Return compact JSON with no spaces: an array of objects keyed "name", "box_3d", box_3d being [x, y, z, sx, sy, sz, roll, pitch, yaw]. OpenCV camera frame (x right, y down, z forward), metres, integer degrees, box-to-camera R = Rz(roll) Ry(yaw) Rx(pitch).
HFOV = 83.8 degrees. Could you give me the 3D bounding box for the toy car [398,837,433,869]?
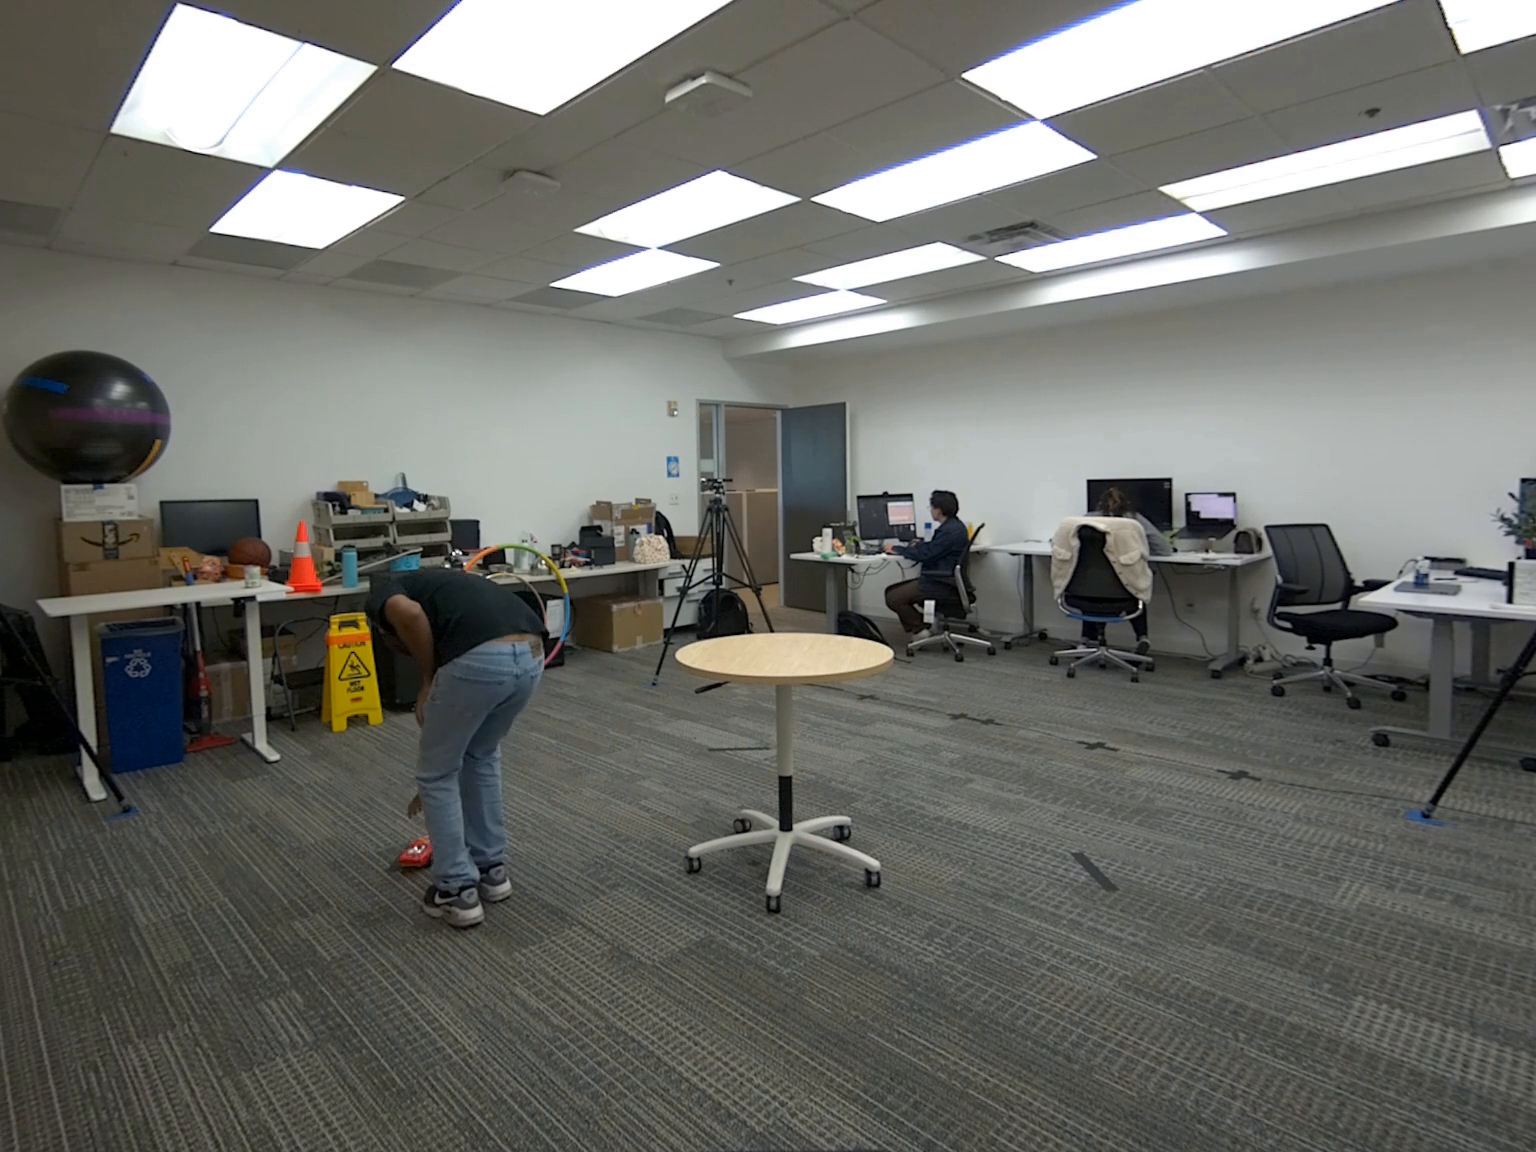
[{"name":"toy car","box_3d":[-1.291,1.032,3.206,0.131,0.084,0.251,0,-5,6]}]
